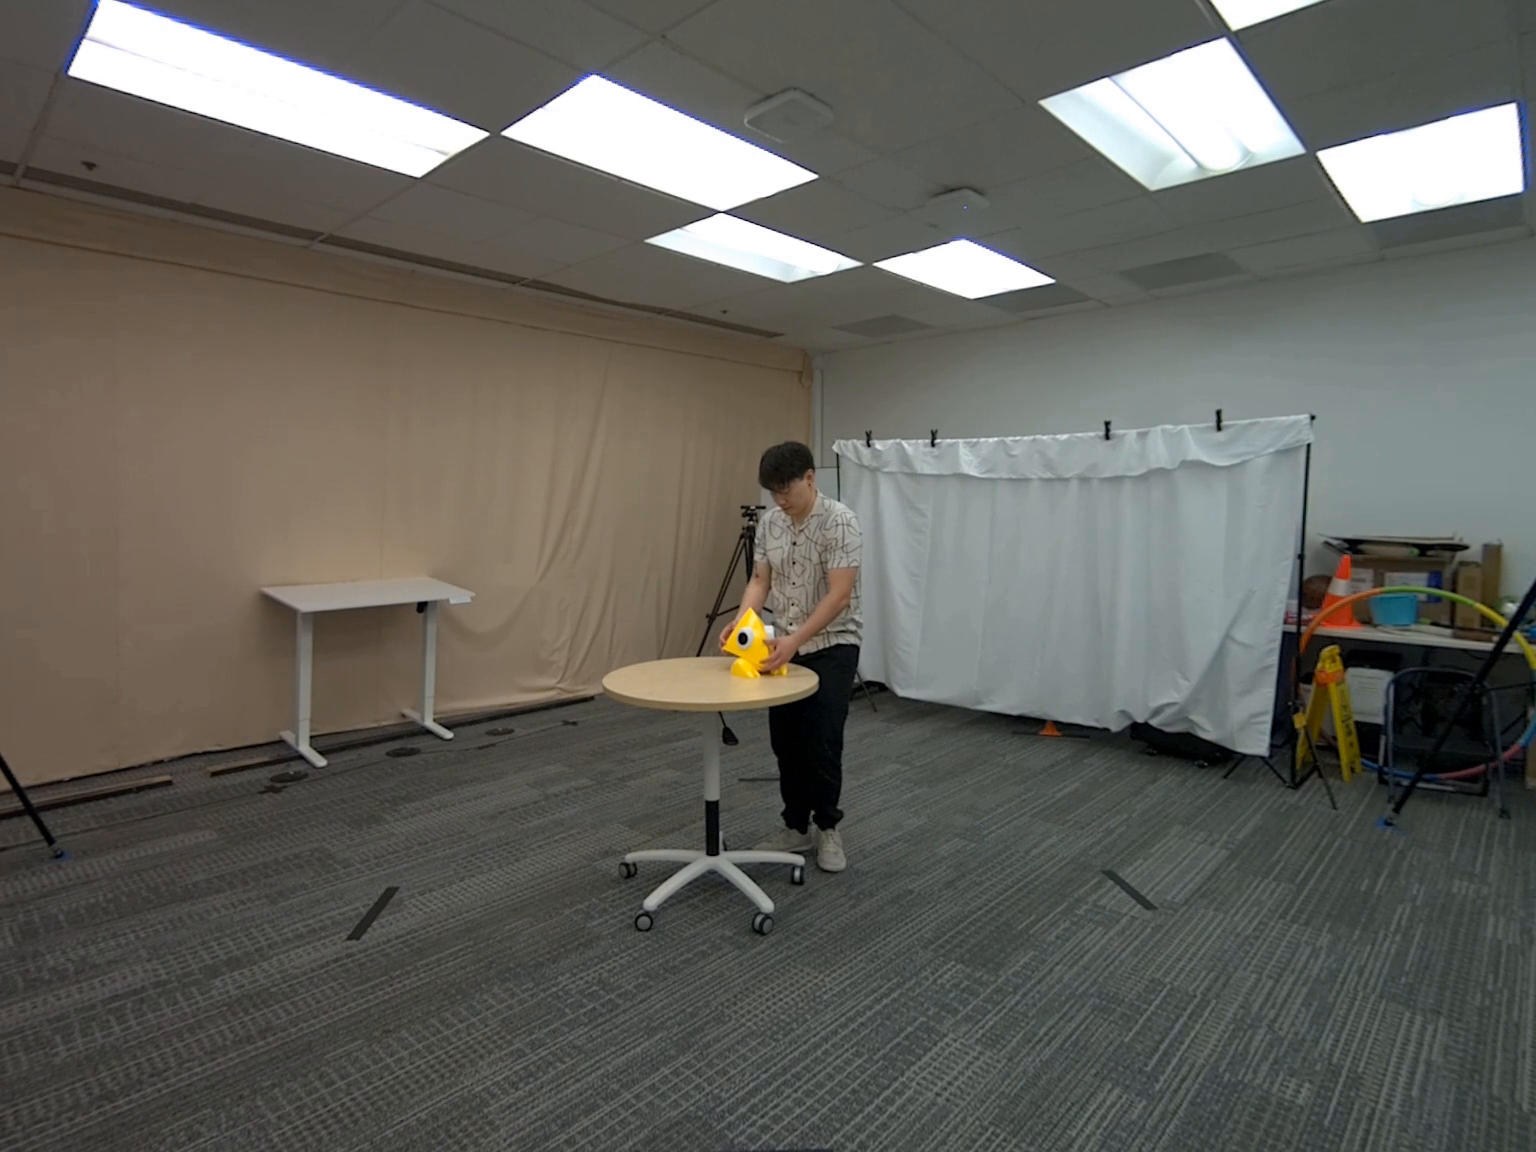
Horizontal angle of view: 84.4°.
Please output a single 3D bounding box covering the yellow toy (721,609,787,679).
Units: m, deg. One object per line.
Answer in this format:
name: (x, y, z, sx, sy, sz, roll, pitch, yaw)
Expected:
yellow toy: (-0.037, 0.238, 3.071, 0.200, 0.230, 0.198, -1, 3, -25)
